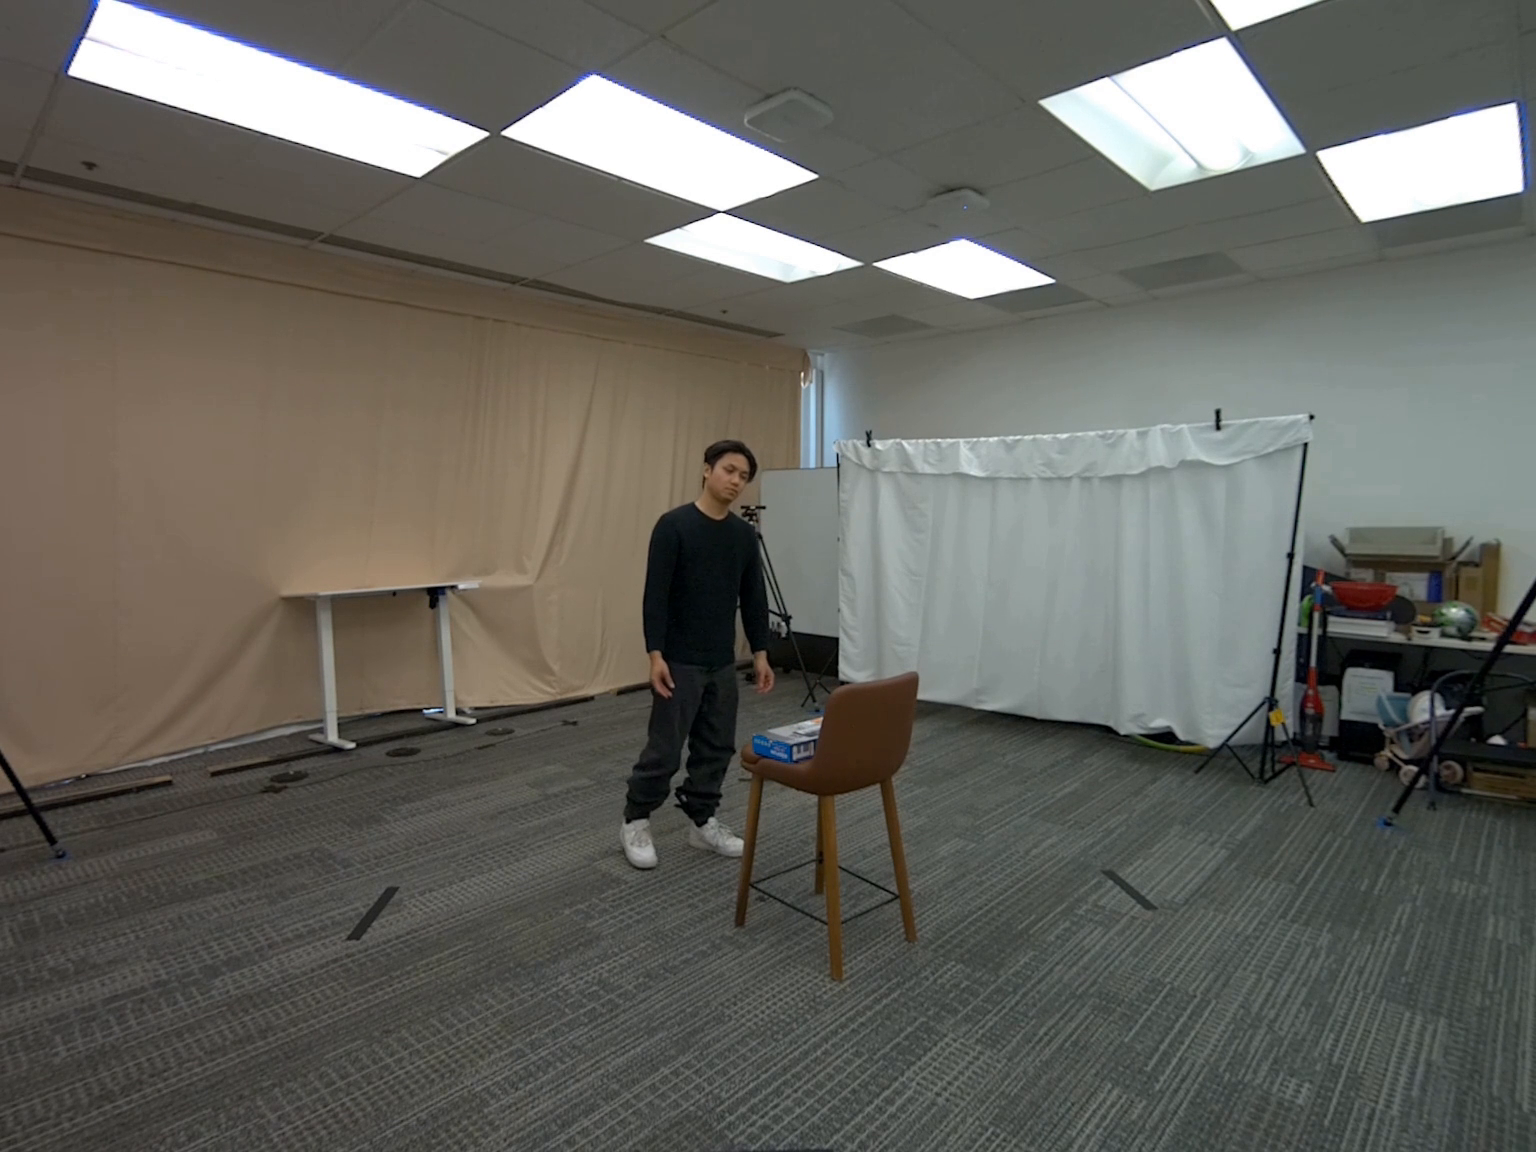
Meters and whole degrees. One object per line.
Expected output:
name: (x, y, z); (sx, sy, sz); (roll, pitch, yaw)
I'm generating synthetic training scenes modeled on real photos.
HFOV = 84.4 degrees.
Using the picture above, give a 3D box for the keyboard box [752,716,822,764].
keyboard box: (0.172, 0.518, 2.736); (0.423, 0.059, 0.182); (-5, 5, -42)
